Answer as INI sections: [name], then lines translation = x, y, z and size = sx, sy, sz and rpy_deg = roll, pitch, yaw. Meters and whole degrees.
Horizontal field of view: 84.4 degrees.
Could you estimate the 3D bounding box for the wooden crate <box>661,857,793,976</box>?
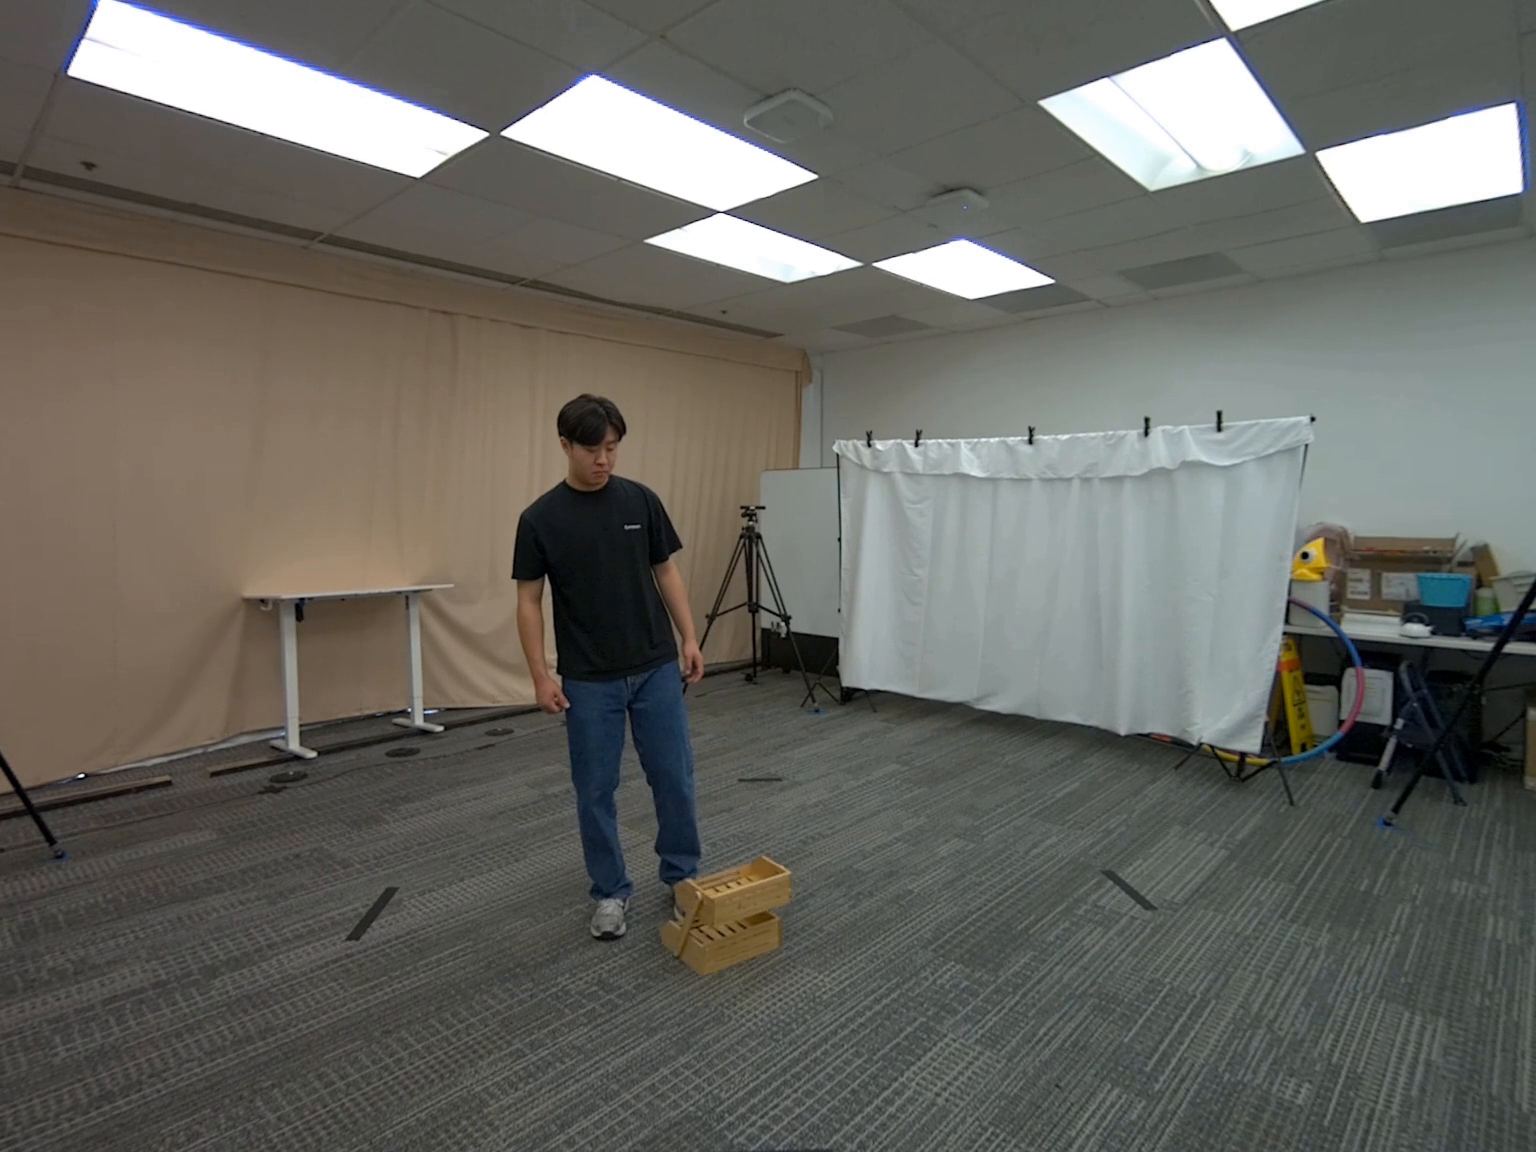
[wooden crate]
translation = -0.130, 1.041, 2.637
size = 0.315, 0.272, 0.312
rpy_deg = -3, 5, -36
